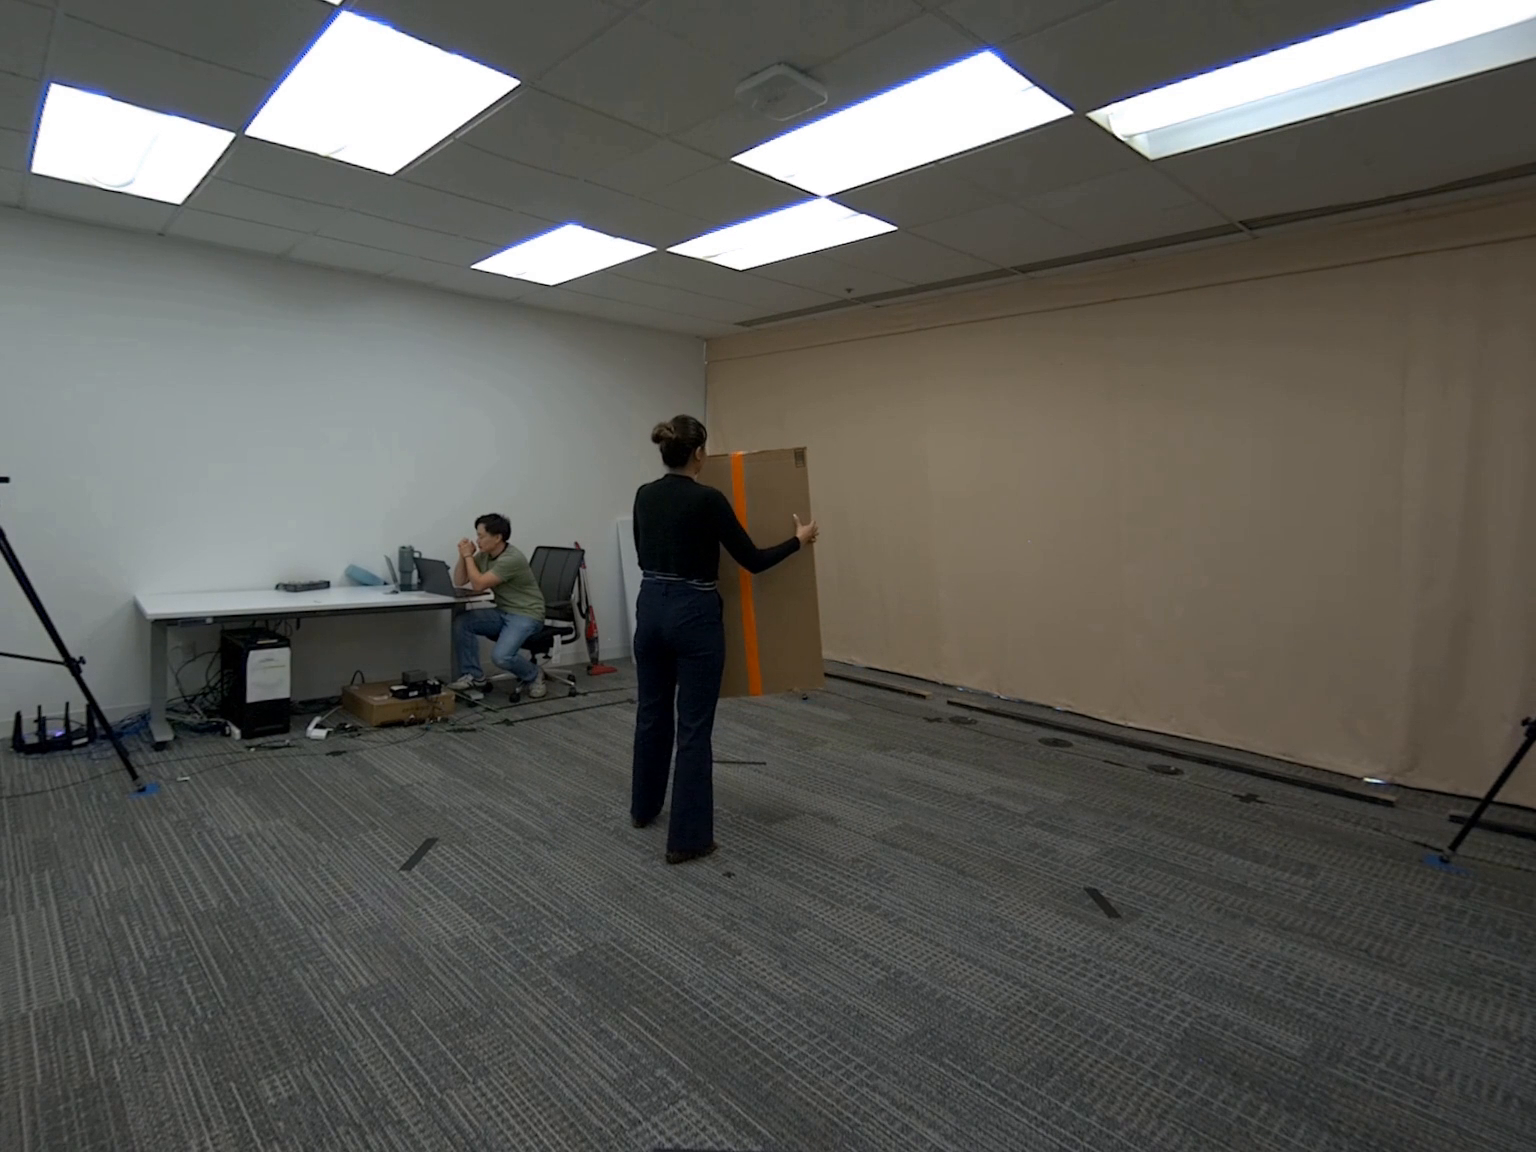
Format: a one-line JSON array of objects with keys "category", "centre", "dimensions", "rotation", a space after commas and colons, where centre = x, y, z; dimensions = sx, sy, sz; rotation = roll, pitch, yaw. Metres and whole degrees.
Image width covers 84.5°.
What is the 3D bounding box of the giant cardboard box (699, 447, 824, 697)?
[{"category": "giant cardboard box", "centre": [-0.101, -0.025, 3.731], "dimensions": [0.578, 1.023, 0.427], "rotation": [-5, 3, 0]}]
